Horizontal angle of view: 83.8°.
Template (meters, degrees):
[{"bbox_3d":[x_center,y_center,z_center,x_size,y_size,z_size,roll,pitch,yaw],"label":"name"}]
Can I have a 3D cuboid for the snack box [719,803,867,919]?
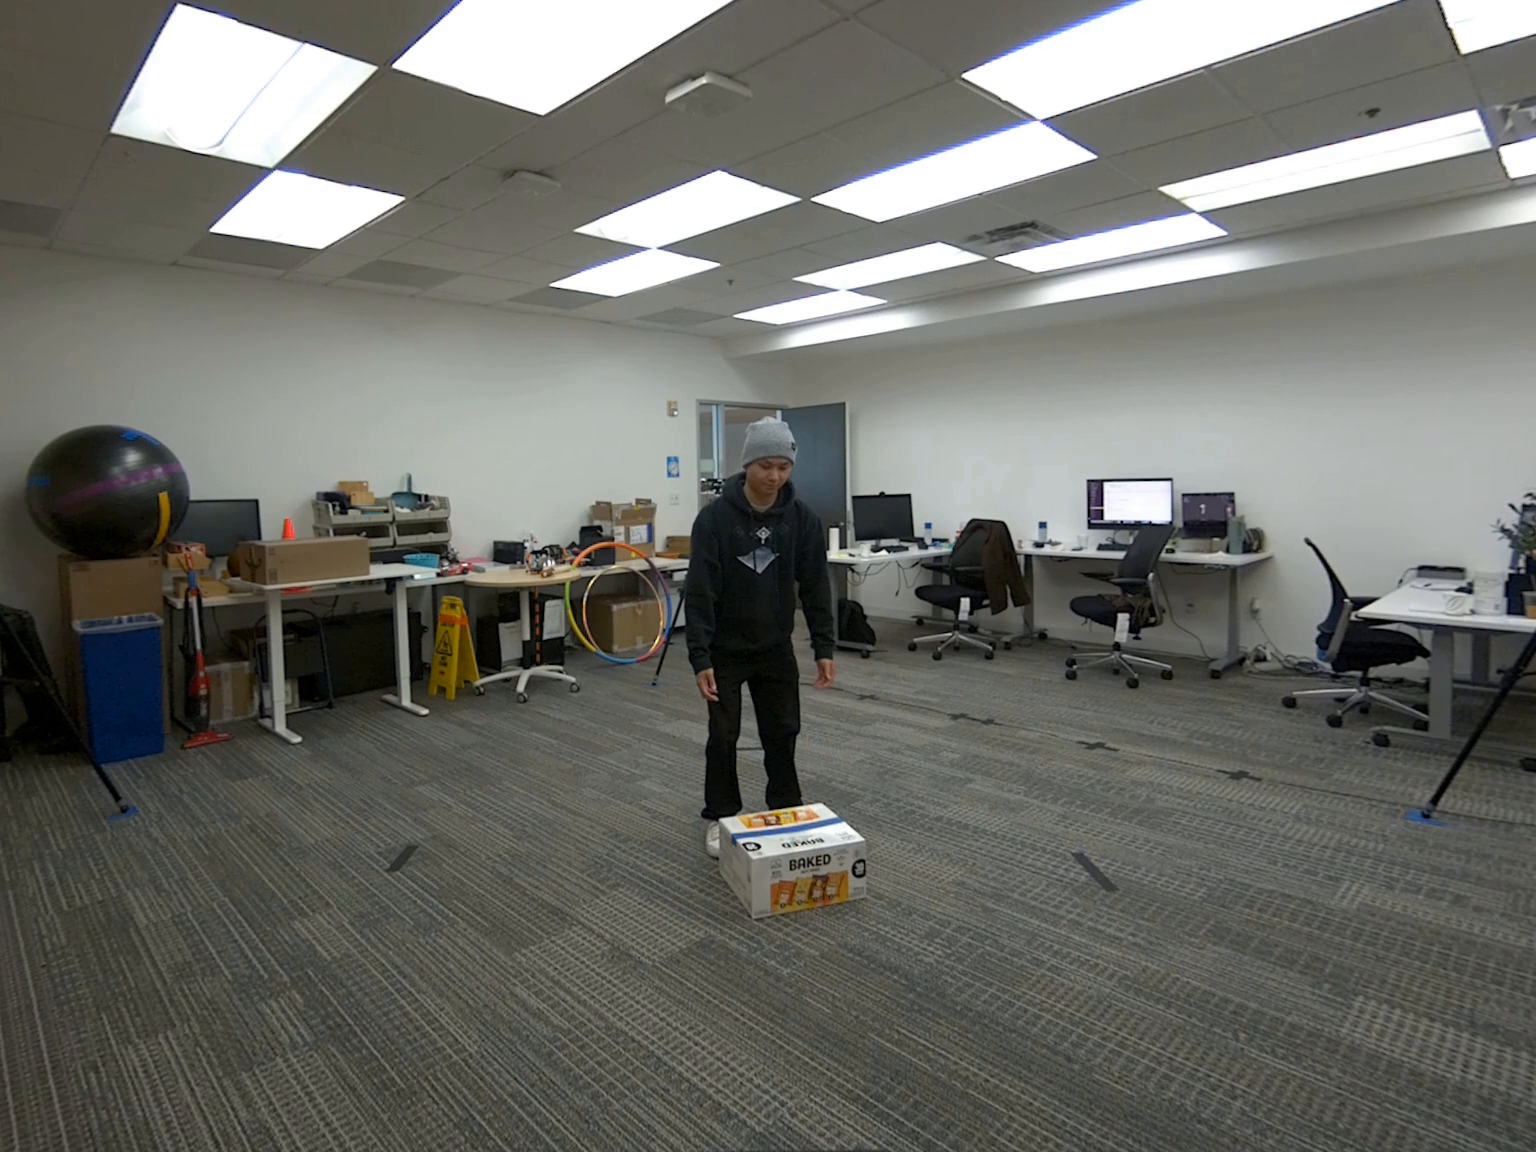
[{"bbox_3d":[0.080,0.963,2.919,0.398,0.205,0.348,-3,6,-20],"label":"snack box"}]
